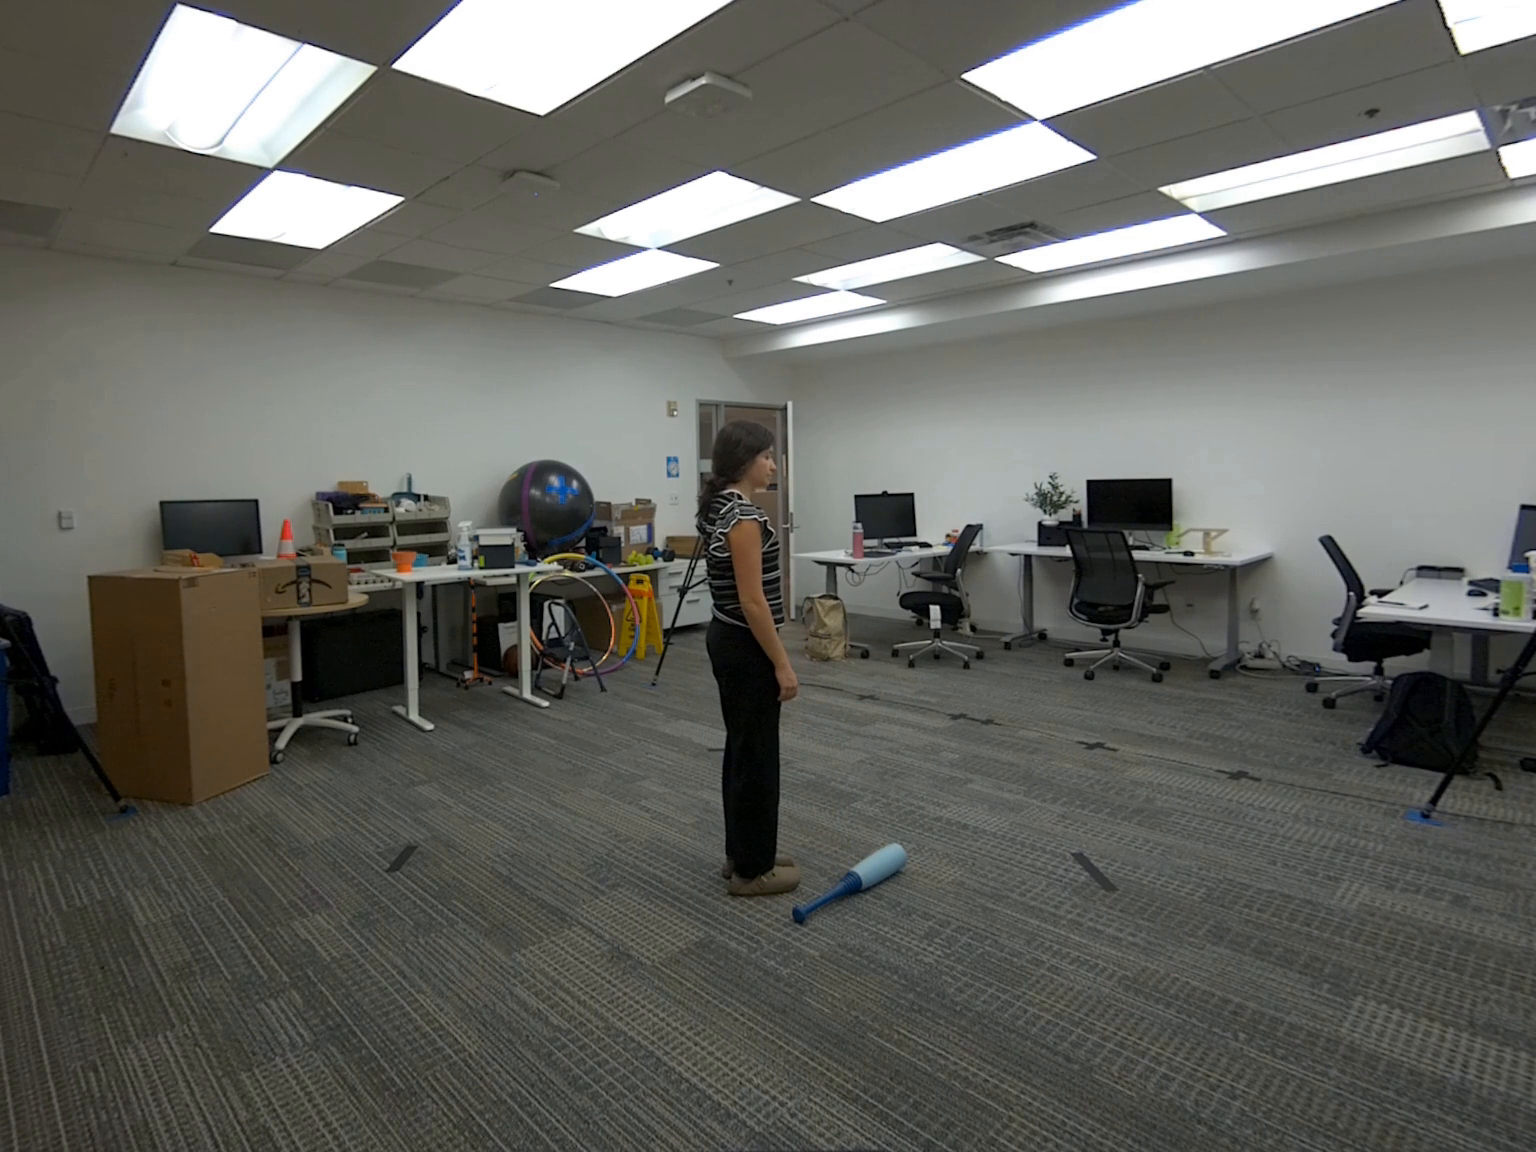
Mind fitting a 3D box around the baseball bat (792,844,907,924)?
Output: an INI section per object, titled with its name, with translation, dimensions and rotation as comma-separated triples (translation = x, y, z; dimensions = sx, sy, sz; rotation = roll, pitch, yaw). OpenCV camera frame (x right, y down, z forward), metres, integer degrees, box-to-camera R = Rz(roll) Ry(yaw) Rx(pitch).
[baseball bat]
translation = 0.277, 1.032, 2.855
dimensions = 0.530, 0.088, 0.092
rotation = -12, 11, -43
